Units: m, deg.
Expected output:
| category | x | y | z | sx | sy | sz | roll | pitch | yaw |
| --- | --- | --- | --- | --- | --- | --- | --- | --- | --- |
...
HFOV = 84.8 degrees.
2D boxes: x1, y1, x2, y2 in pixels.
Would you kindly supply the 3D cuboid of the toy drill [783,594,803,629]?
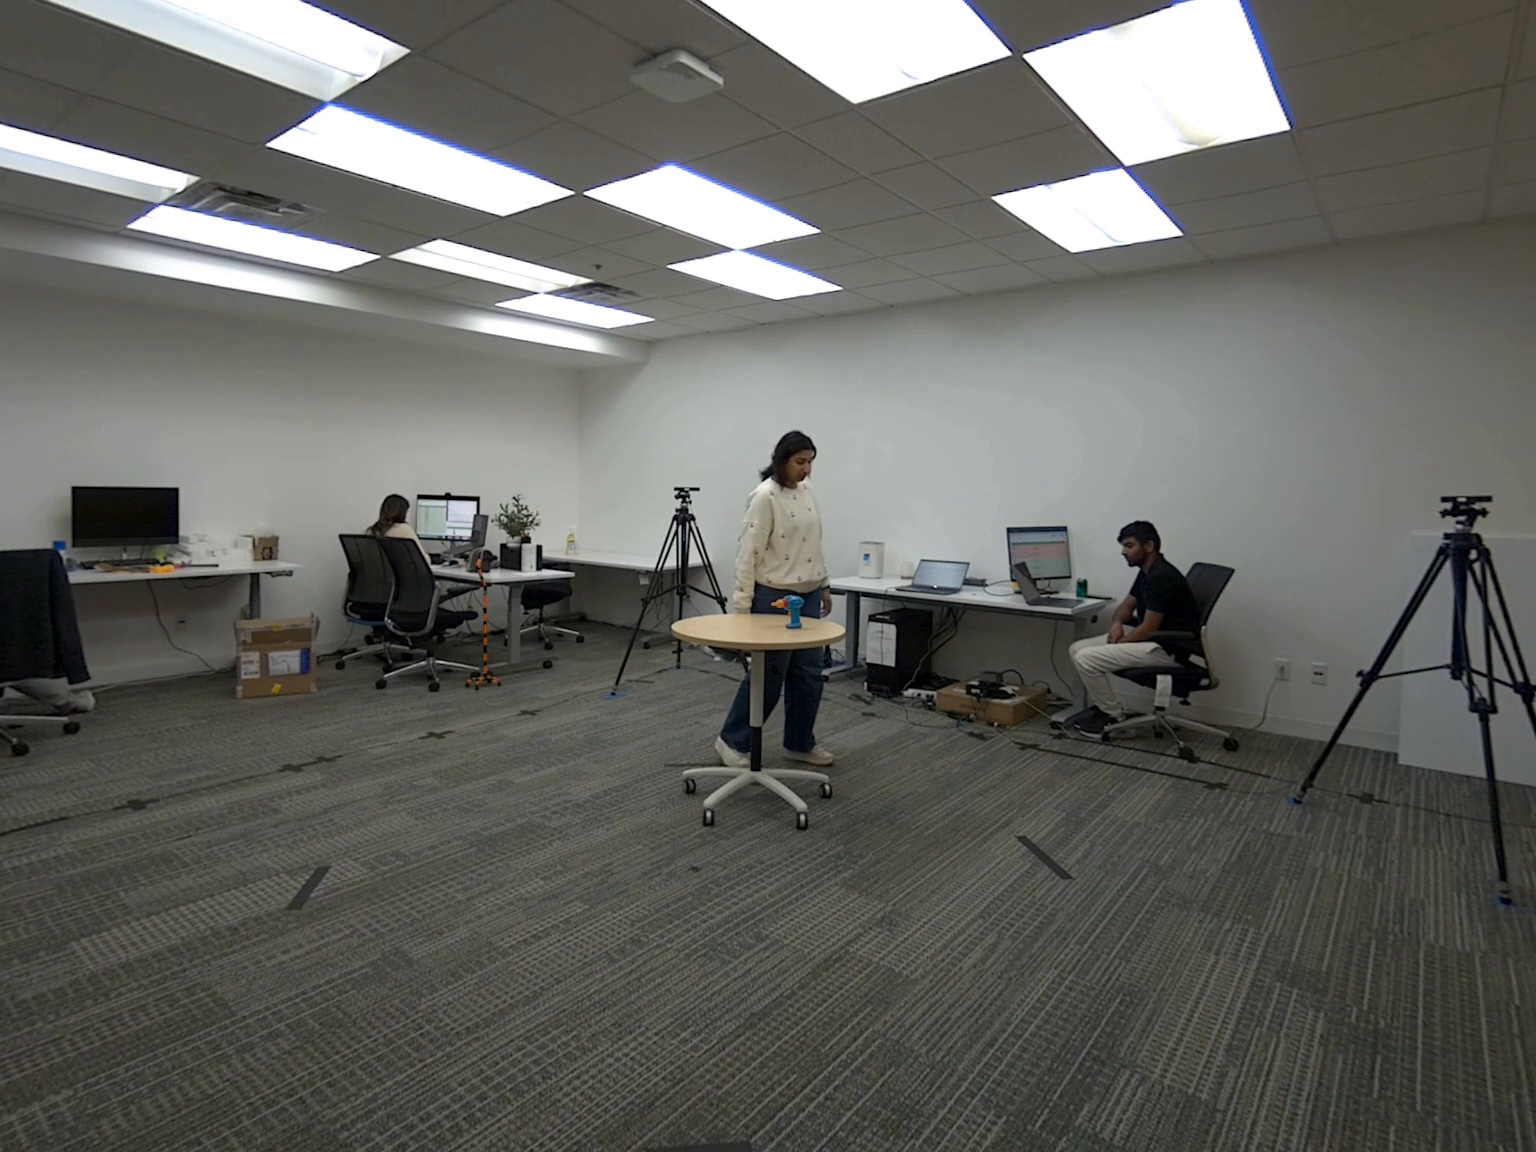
| category | x | y | z | sx | sy | sz | roll | pitch | yaw |
| --- | --- | --- | --- | --- | --- | --- | --- | --- | --- |
| toy drill | 0.077 | 0.154 | 3.730 | 0.165 | 0.145 | 0.063 | -3 | 7 | -30 |
